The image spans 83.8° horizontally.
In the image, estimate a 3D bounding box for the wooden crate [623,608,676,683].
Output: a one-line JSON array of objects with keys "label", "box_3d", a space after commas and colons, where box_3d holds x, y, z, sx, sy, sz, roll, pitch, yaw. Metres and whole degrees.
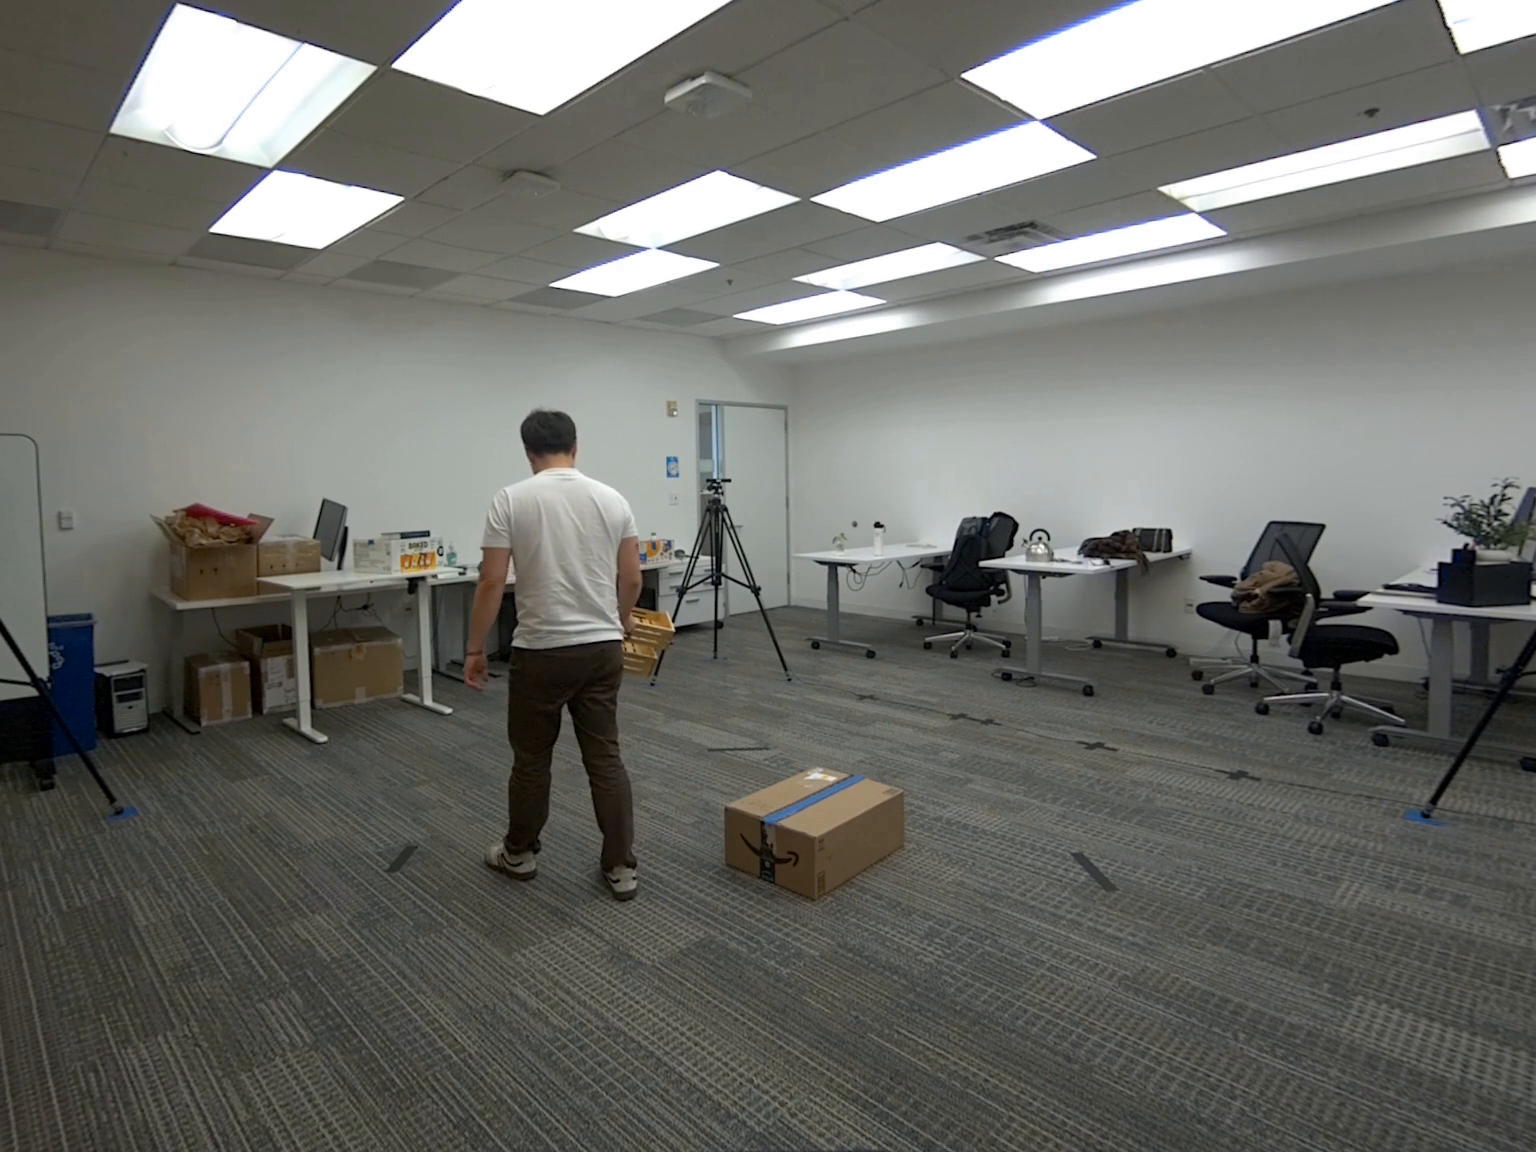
[{"label": "wooden crate", "box_3d": [-0.582, 0.214, 3.461, 0.316, 0.271, 0.312, 14, 22, -24]}]
